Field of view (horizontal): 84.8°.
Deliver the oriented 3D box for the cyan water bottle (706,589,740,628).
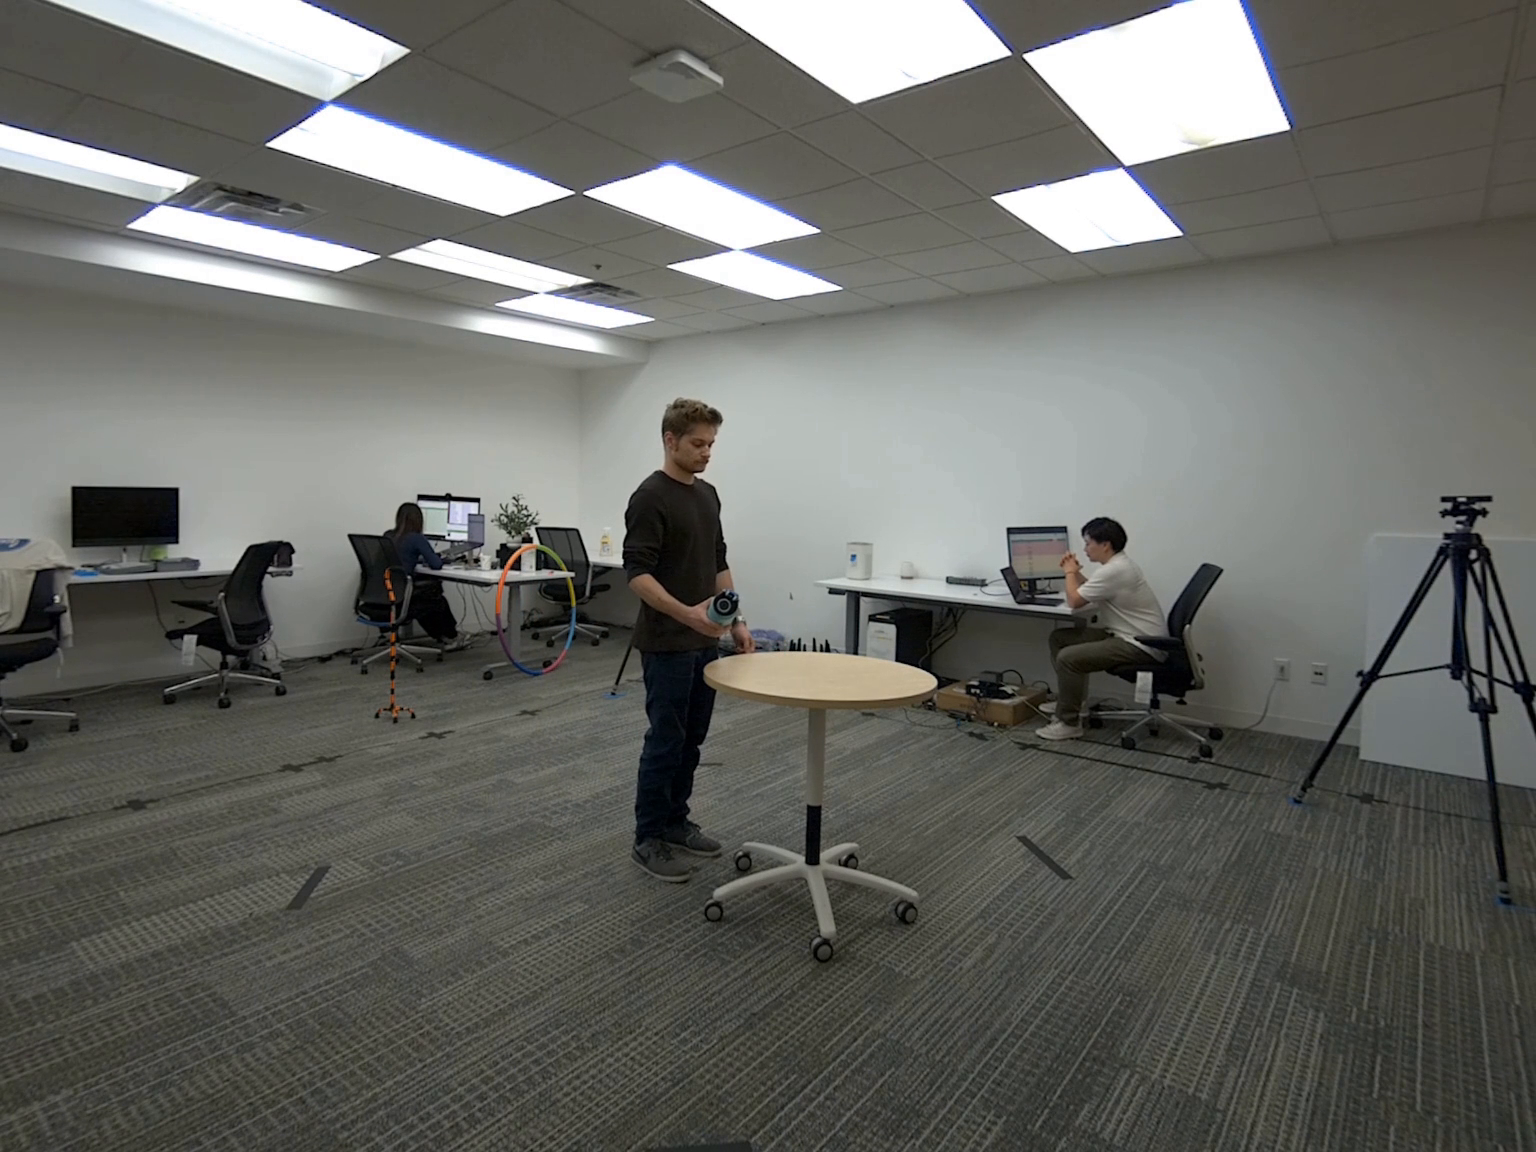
[{"bbox_3d":[-0.162,0.110,2.742,0.091,0.094,0.281,1,-18,-11],"label":"cyan water bottle"}]
